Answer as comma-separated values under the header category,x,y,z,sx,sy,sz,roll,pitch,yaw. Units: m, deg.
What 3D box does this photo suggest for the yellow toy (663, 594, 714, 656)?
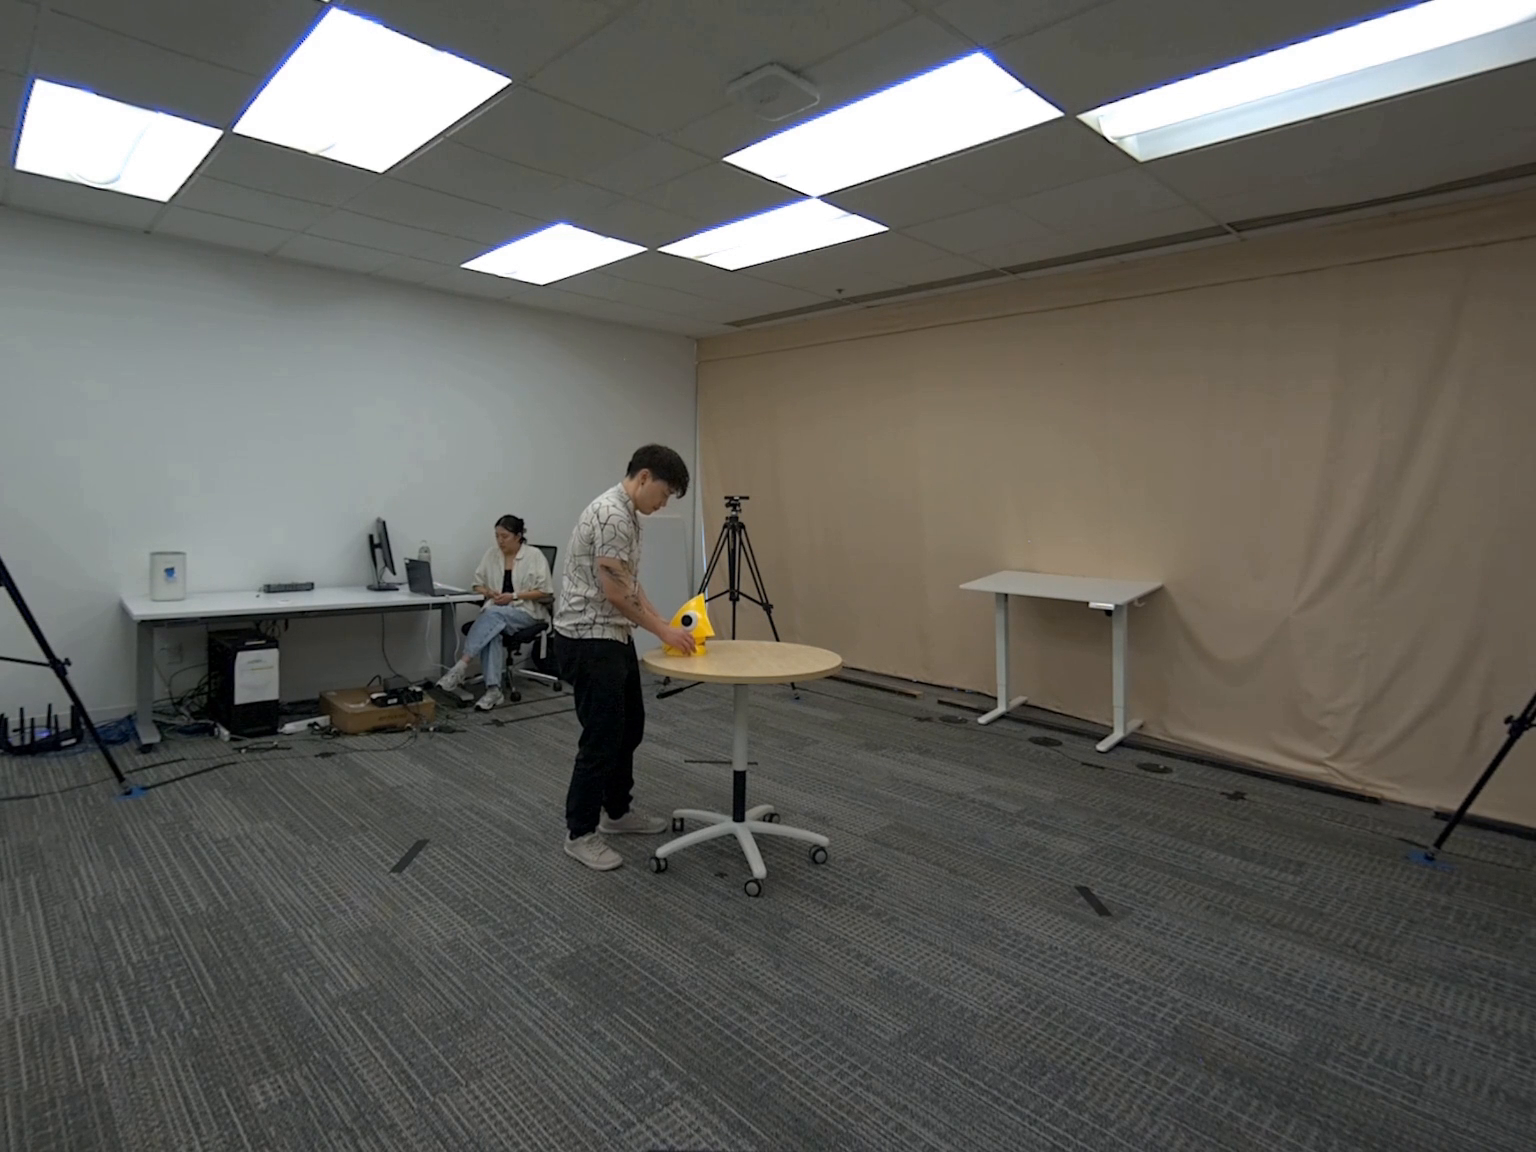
category,x,y,z,sx,sy,sz,roll,pitch,yaw
yellow toy,-0.325,0.184,3.317,0.191,0.230,0.207,1,4,-13
